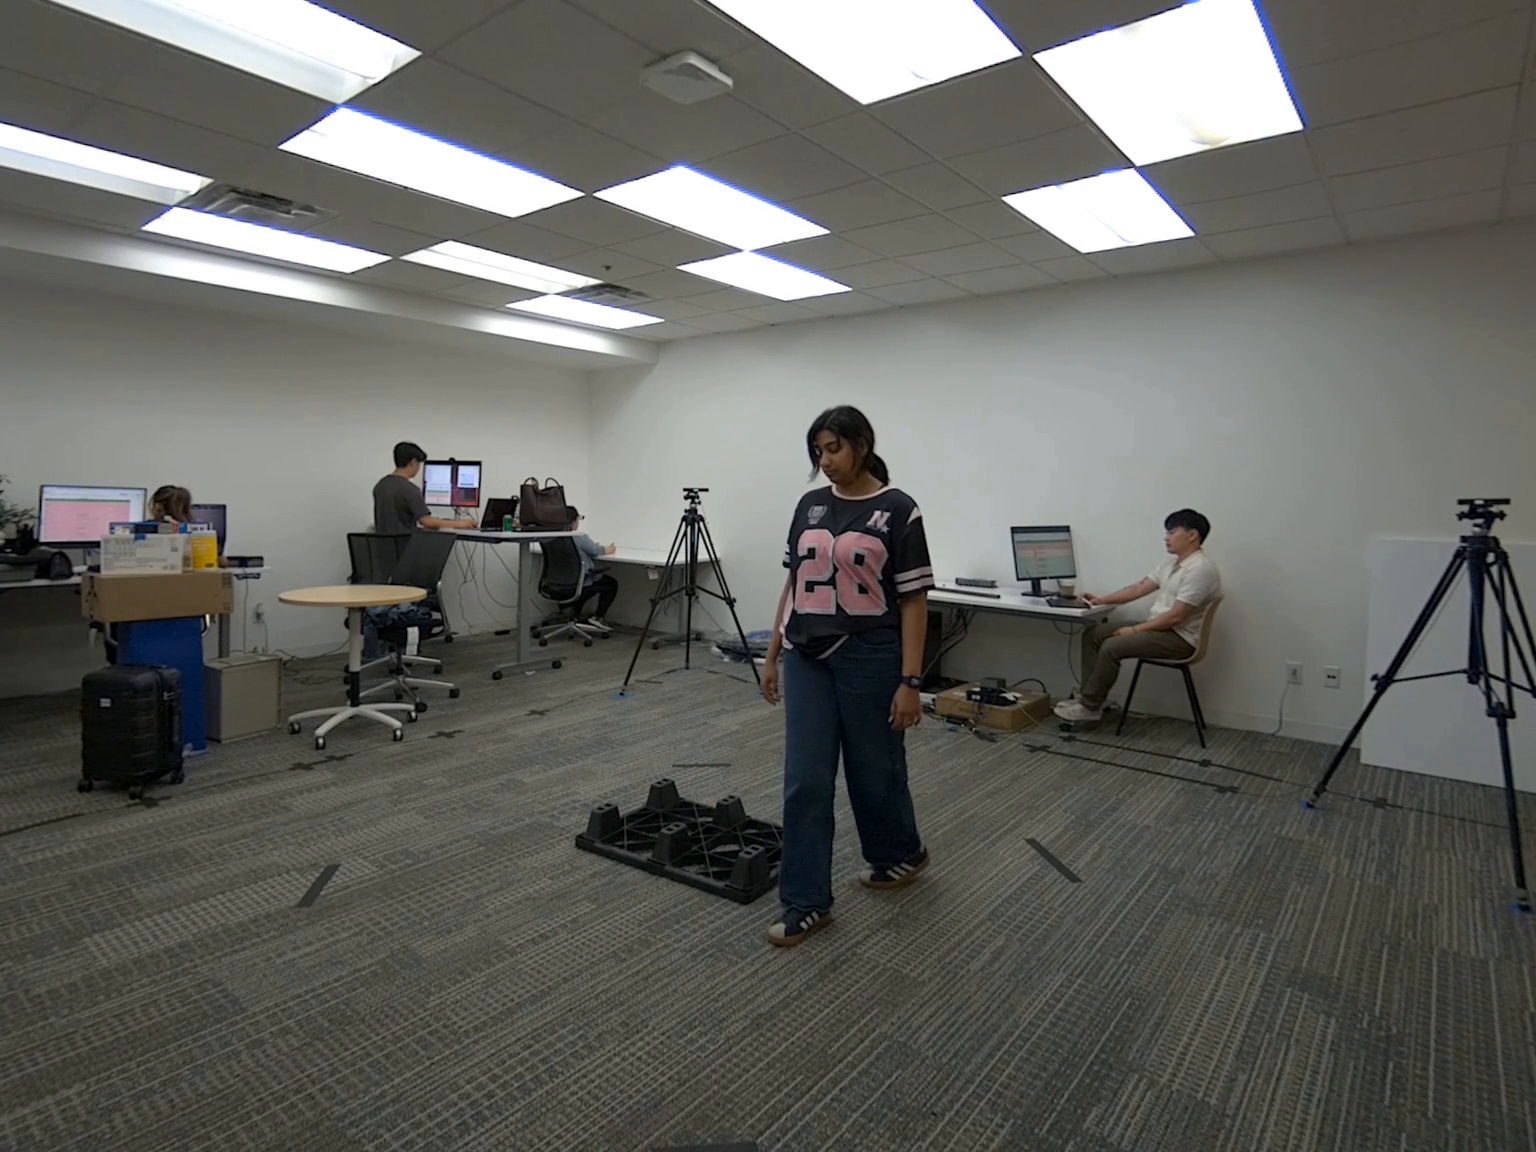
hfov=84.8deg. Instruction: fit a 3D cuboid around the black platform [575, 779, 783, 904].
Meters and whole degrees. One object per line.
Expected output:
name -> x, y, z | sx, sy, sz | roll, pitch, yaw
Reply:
black platform -> -0.261, 0.984, 3.302 | 0.831, 0.143, 0.589 | 5, 7, 32
